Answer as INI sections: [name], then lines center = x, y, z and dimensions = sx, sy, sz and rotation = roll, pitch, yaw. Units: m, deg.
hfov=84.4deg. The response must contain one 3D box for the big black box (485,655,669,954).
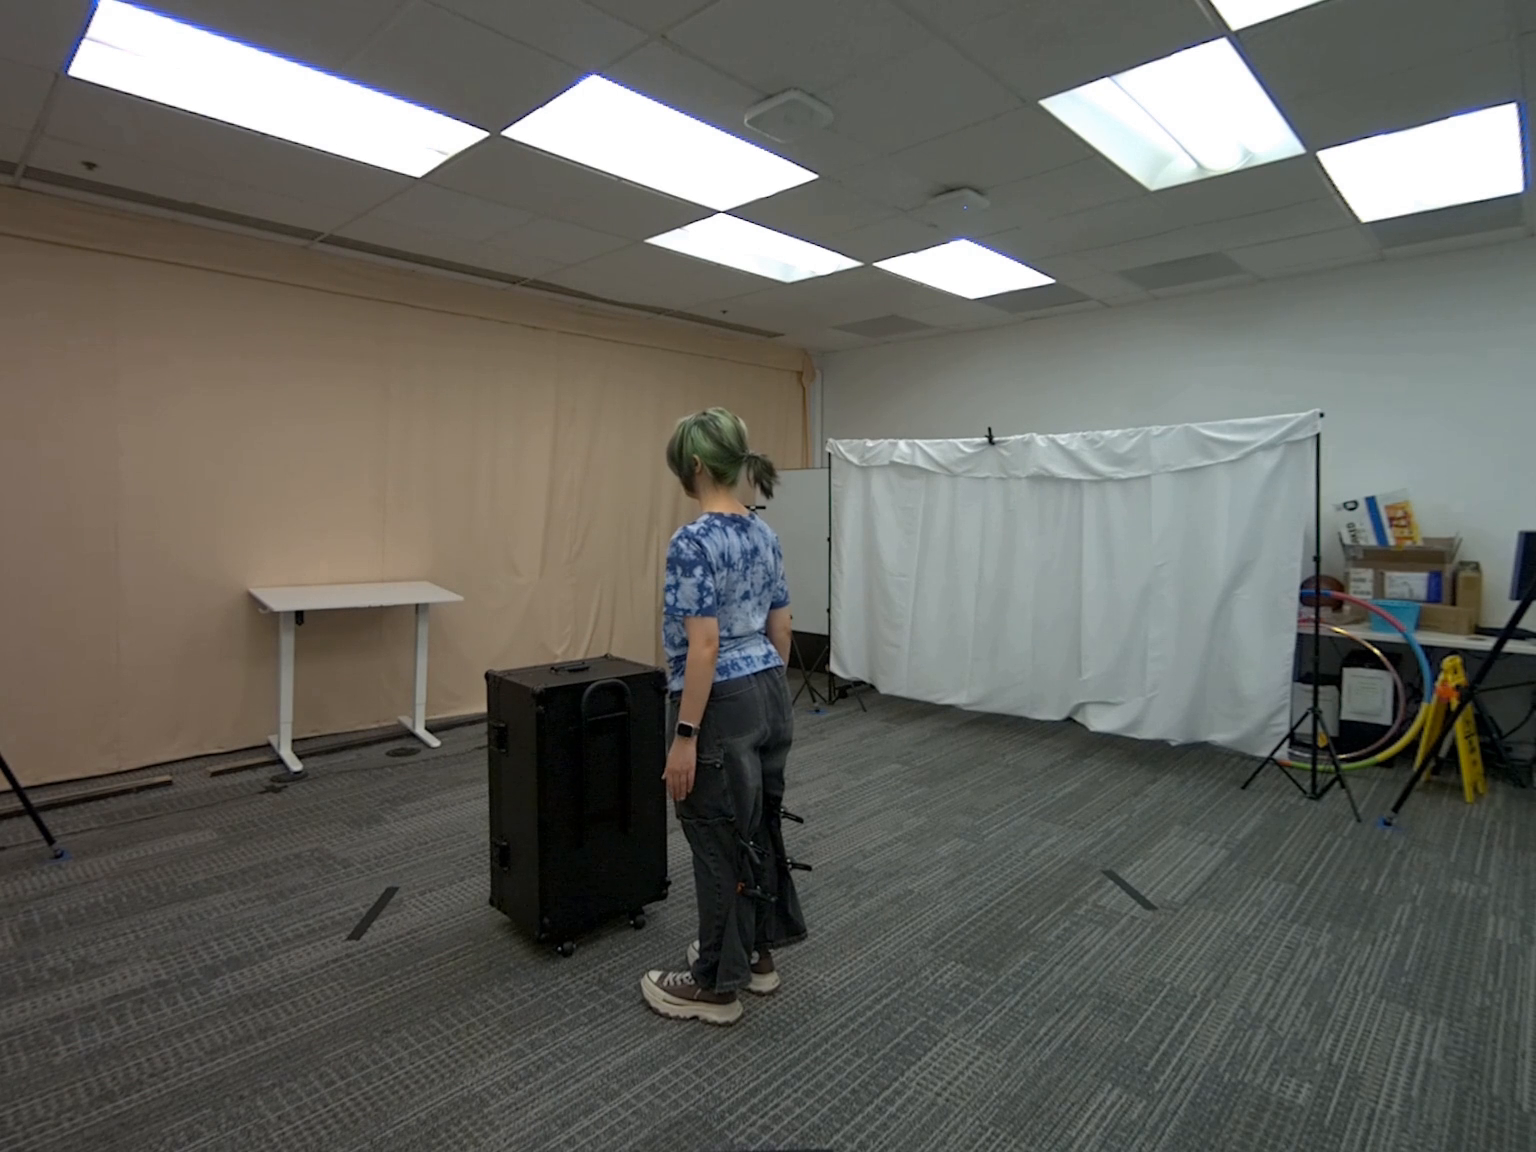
[big black box]
center = -0.623, 0.738, 2.801
dimensions = 0.505, 0.860, 0.409
rotation = -3, 4, -41
